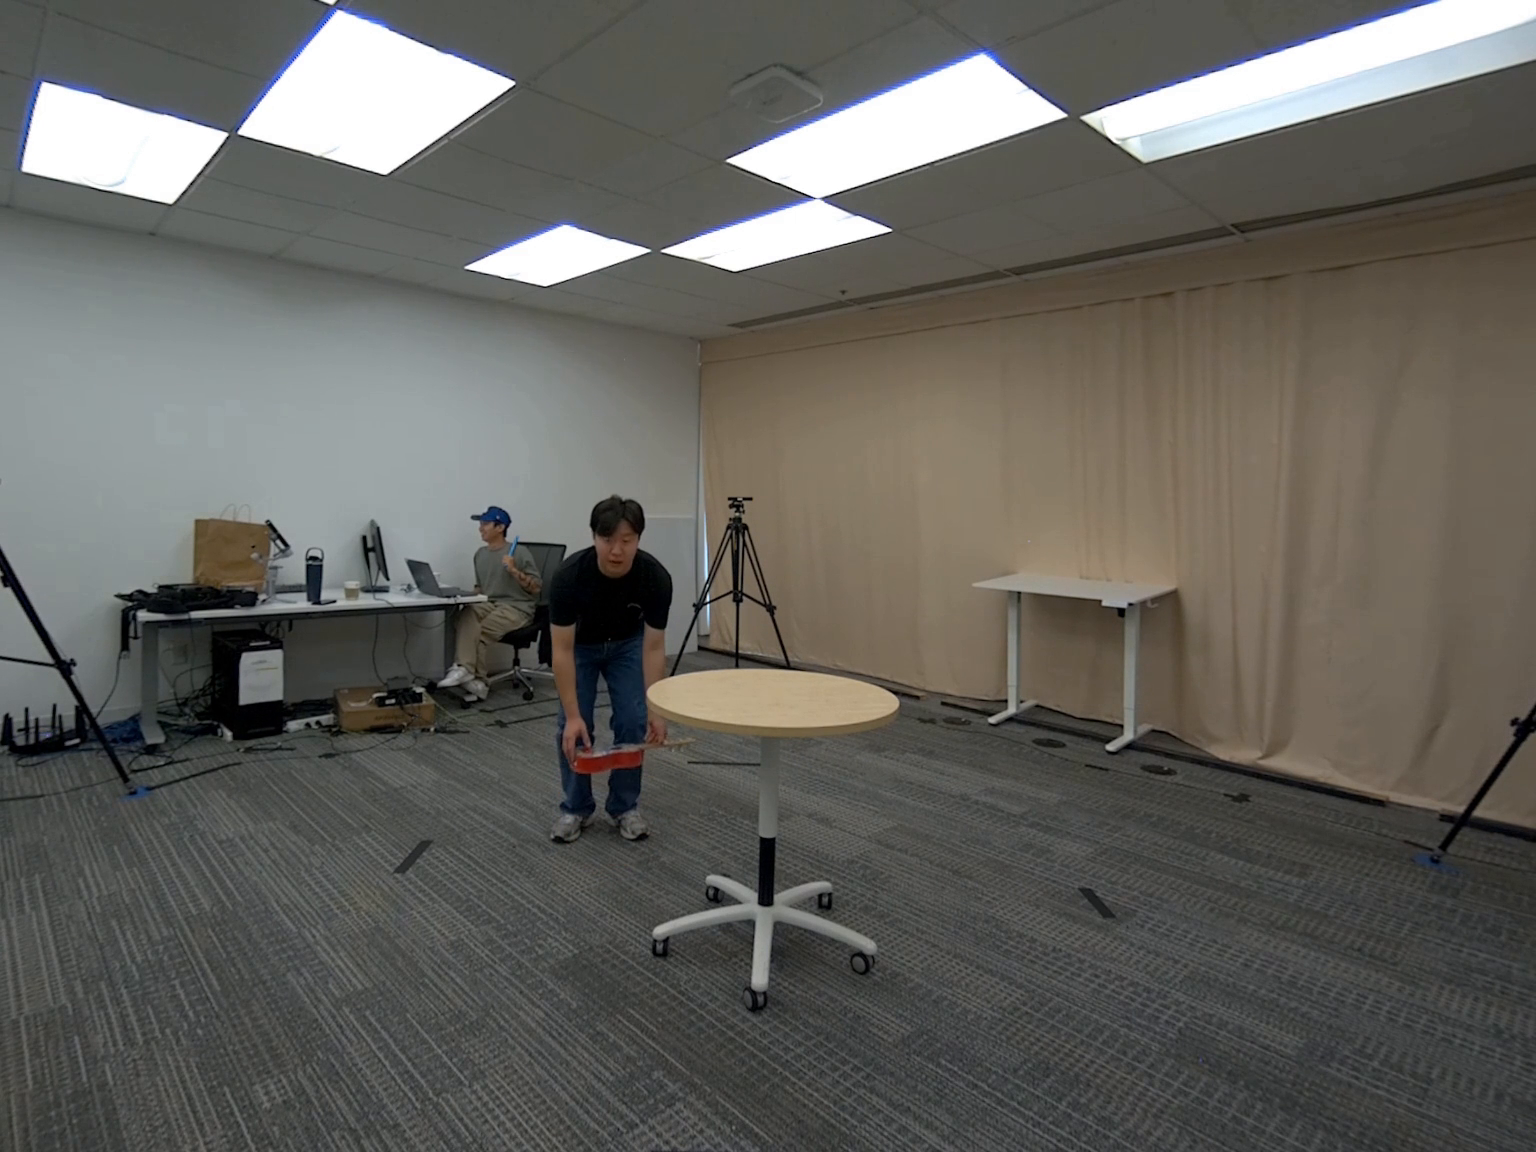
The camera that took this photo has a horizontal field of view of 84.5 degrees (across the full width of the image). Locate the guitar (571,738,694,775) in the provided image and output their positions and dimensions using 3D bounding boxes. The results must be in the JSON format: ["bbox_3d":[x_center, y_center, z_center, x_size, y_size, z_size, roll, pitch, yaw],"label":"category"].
[{"bbox_3d":[-0.520,0.693,3.231,0.493,0.071,0.195,-1,1,-13],"label":"guitar"}]
